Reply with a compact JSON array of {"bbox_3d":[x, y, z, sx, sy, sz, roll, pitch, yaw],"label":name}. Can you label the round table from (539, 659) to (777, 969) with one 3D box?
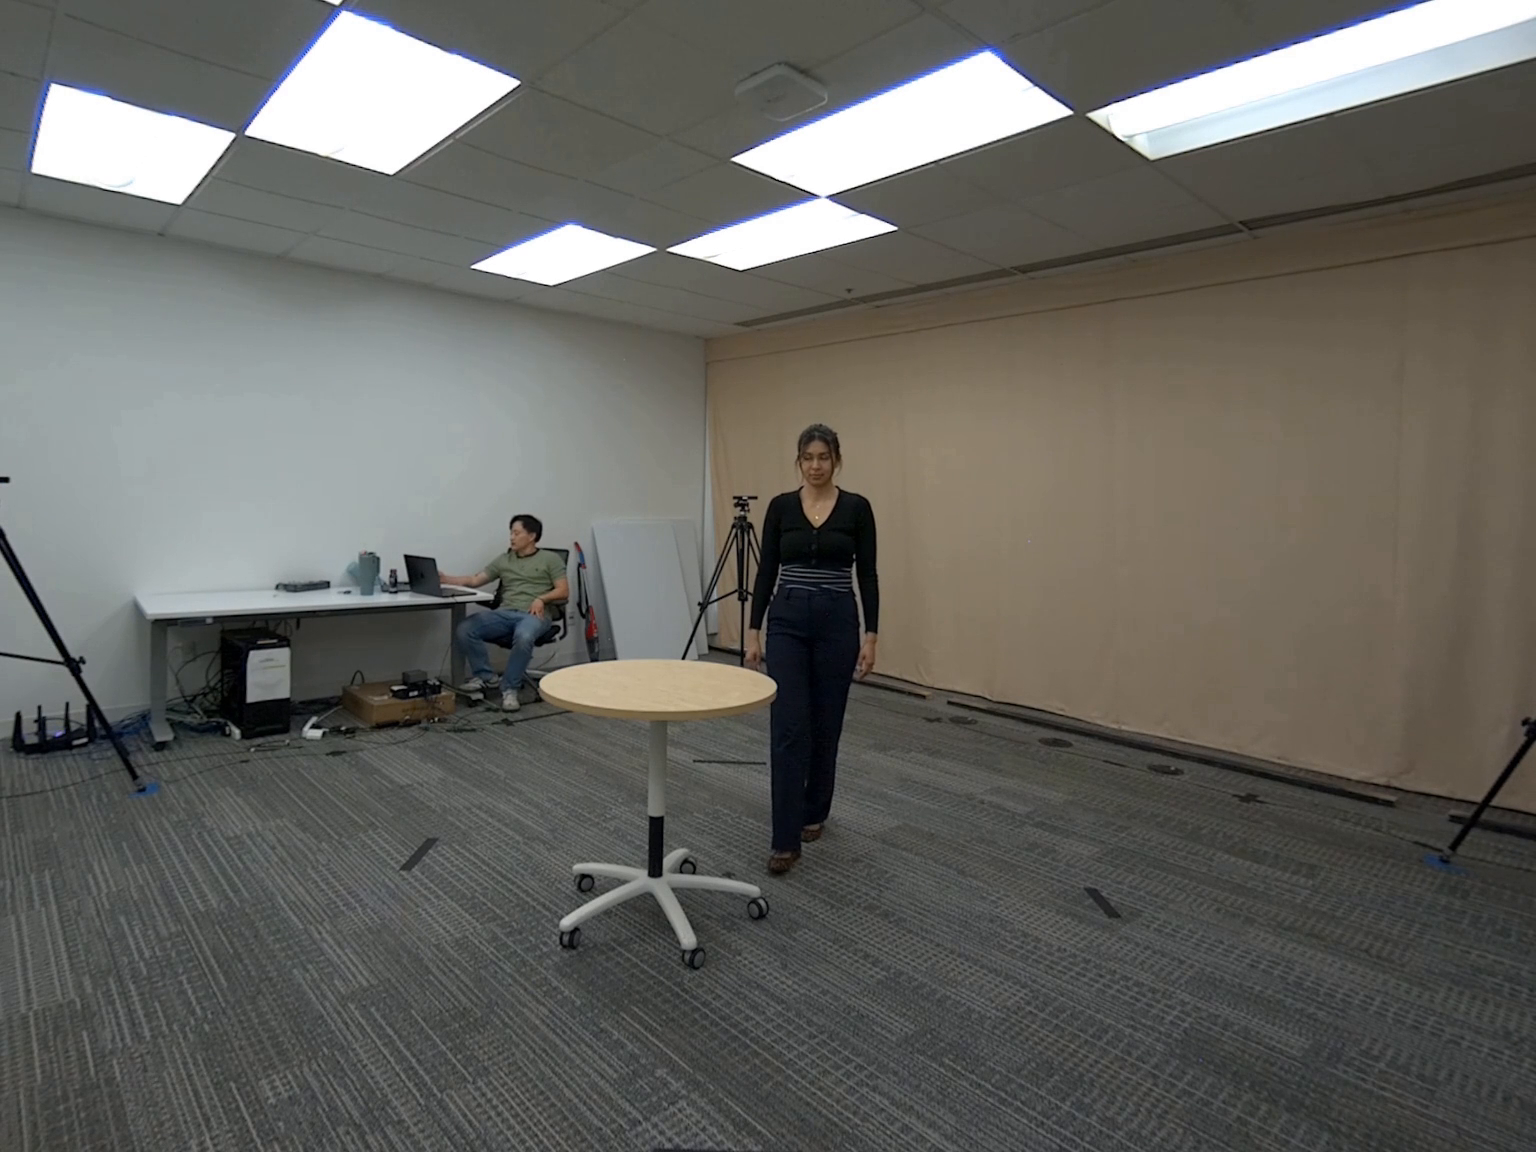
[{"bbox_3d":[-0.371,0.742,2.755,0.763,0.792,0.766,1,4,-1],"label":"round table"}]
